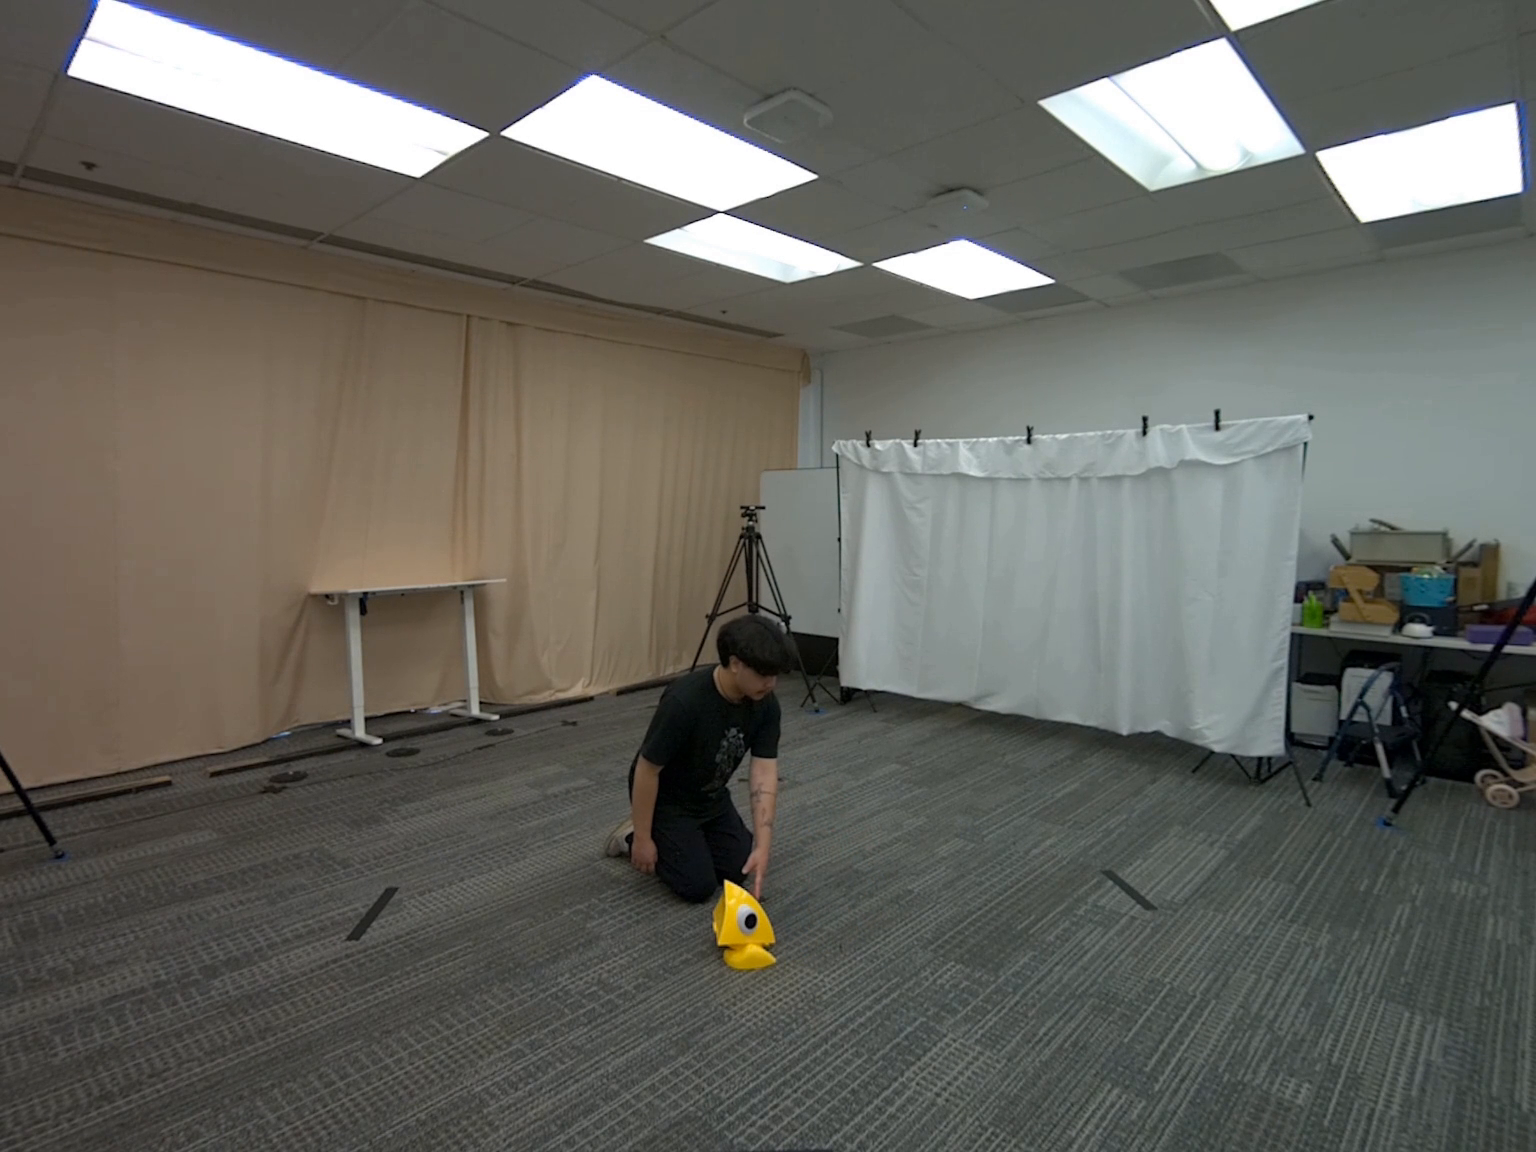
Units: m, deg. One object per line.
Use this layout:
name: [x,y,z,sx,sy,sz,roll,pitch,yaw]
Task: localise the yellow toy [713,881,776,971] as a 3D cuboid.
yellow toy: [-0.071,1.064,2.622,0.192,0.230,0.206,-1,6,-5]
